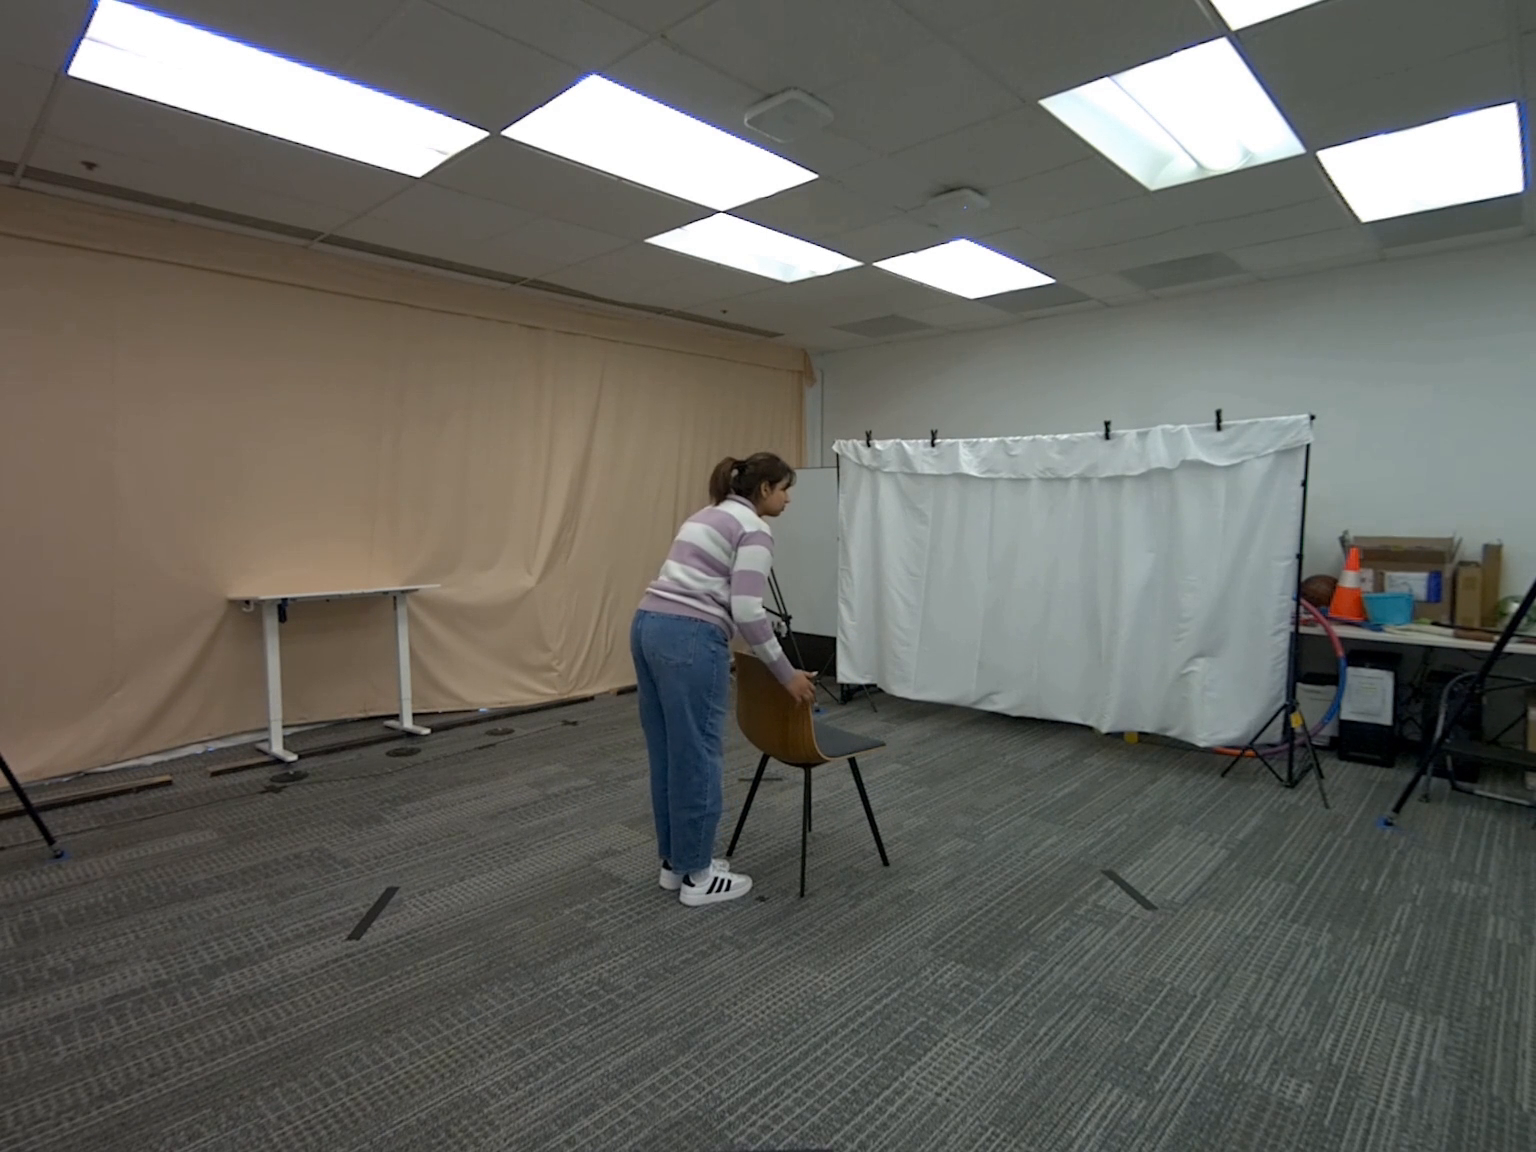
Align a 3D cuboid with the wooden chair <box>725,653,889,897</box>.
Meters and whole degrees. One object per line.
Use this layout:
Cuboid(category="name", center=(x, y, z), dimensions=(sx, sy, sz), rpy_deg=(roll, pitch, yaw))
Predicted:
Cuboid(category="wooden chair", center=(0.160, 0.690, 3.273), dimensions=(0.508, 0.874, 0.493), rpy_deg=(-8, 7, -38))
